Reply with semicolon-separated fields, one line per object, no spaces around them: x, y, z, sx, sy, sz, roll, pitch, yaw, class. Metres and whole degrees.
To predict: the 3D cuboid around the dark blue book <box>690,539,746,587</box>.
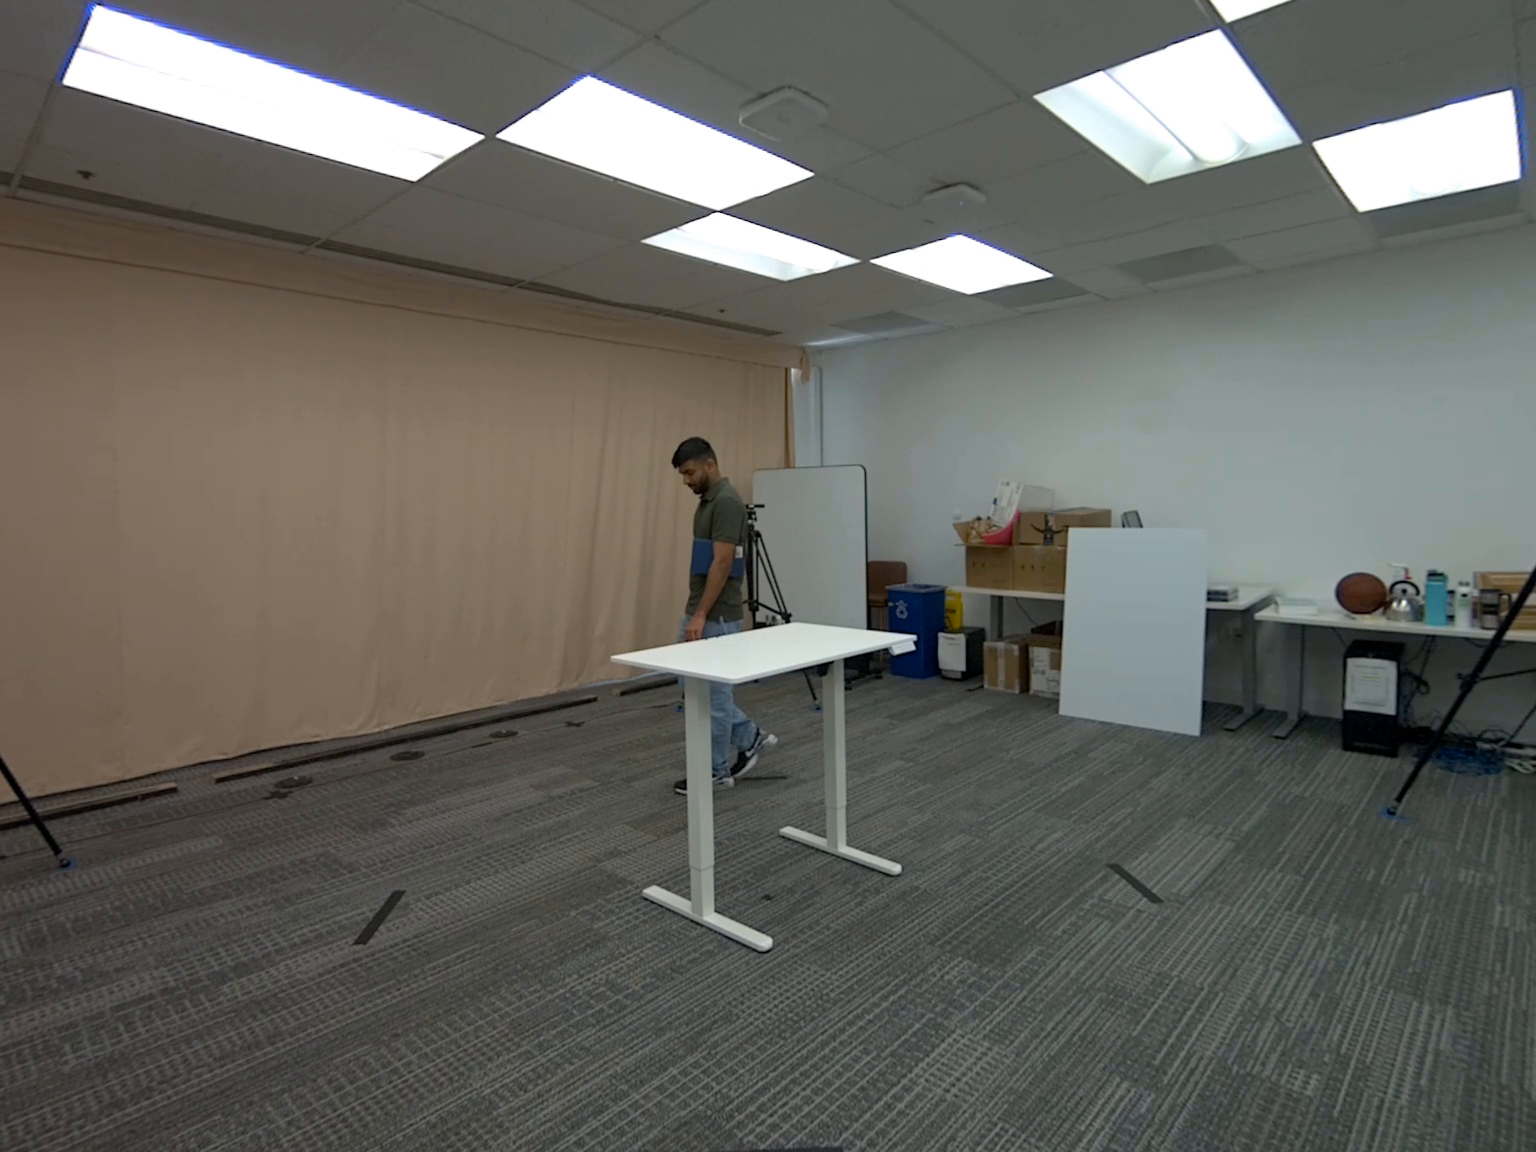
-0.232;-0.083;4.017;0.247;0.162;0.045;4;9;6;dark blue book
